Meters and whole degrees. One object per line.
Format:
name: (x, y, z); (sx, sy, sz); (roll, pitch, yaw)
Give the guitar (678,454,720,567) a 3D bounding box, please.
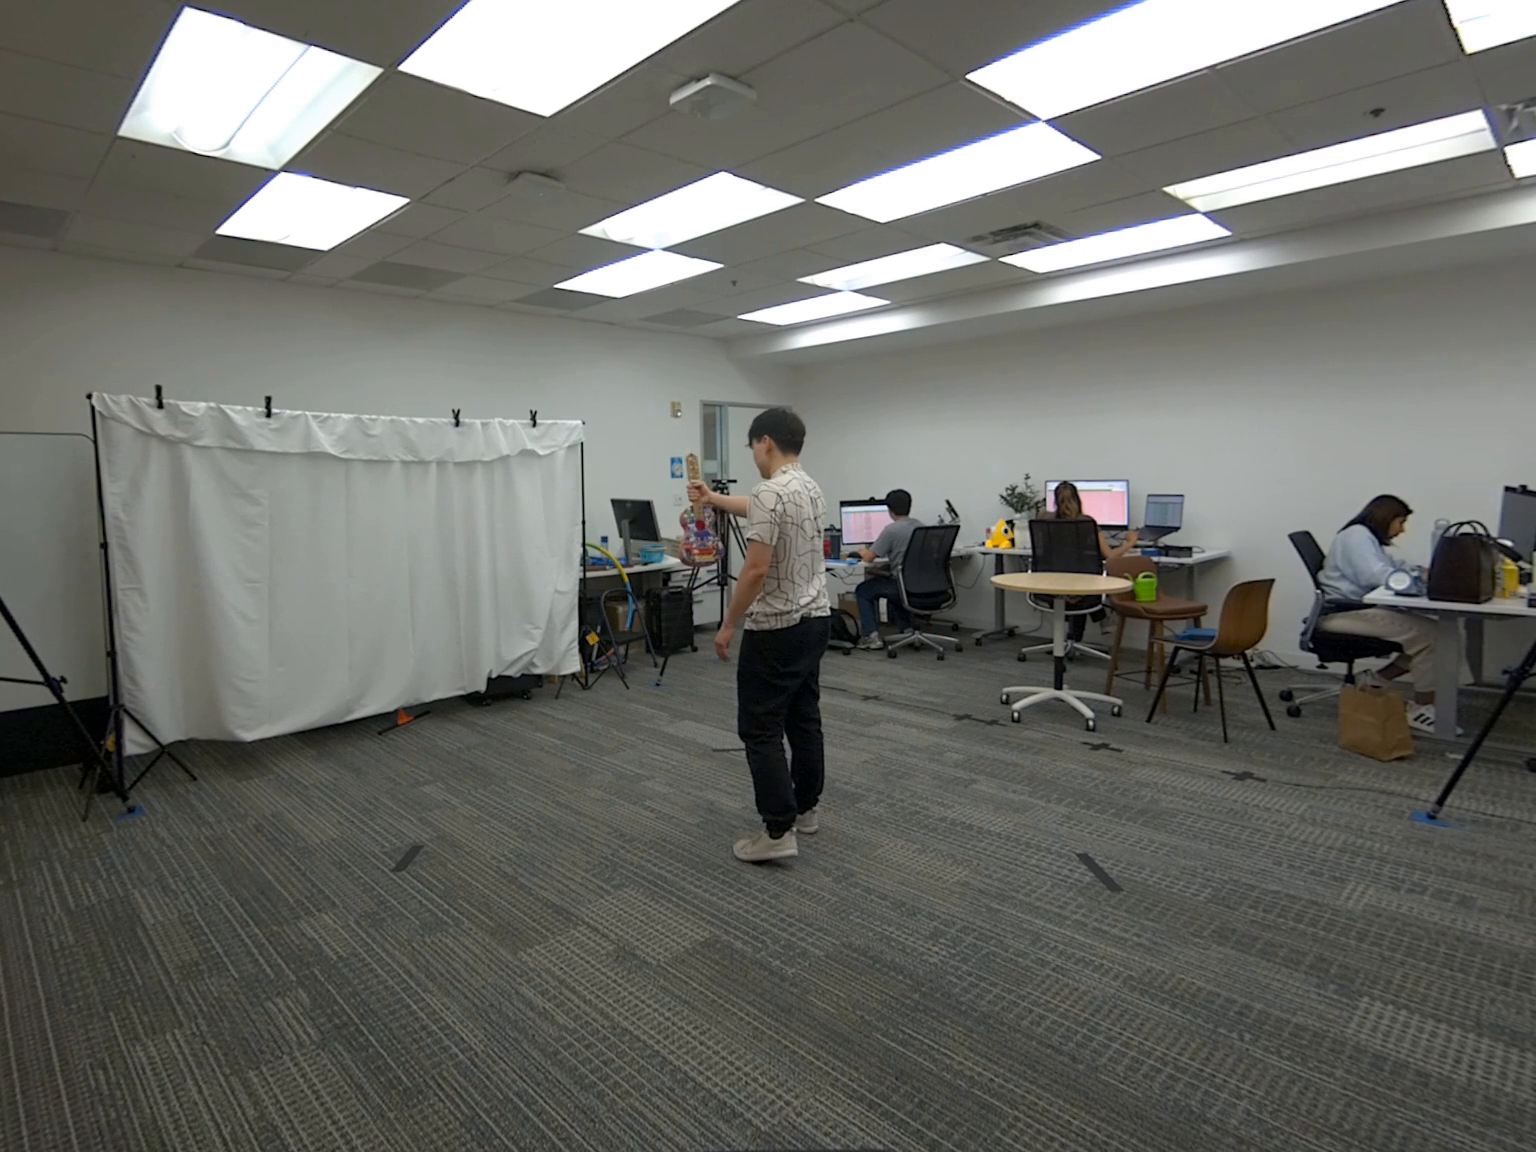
guitar: (-0.286, -0.286, 3.774); (0.190, 0.504, 0.071); (6, -14, -16)
